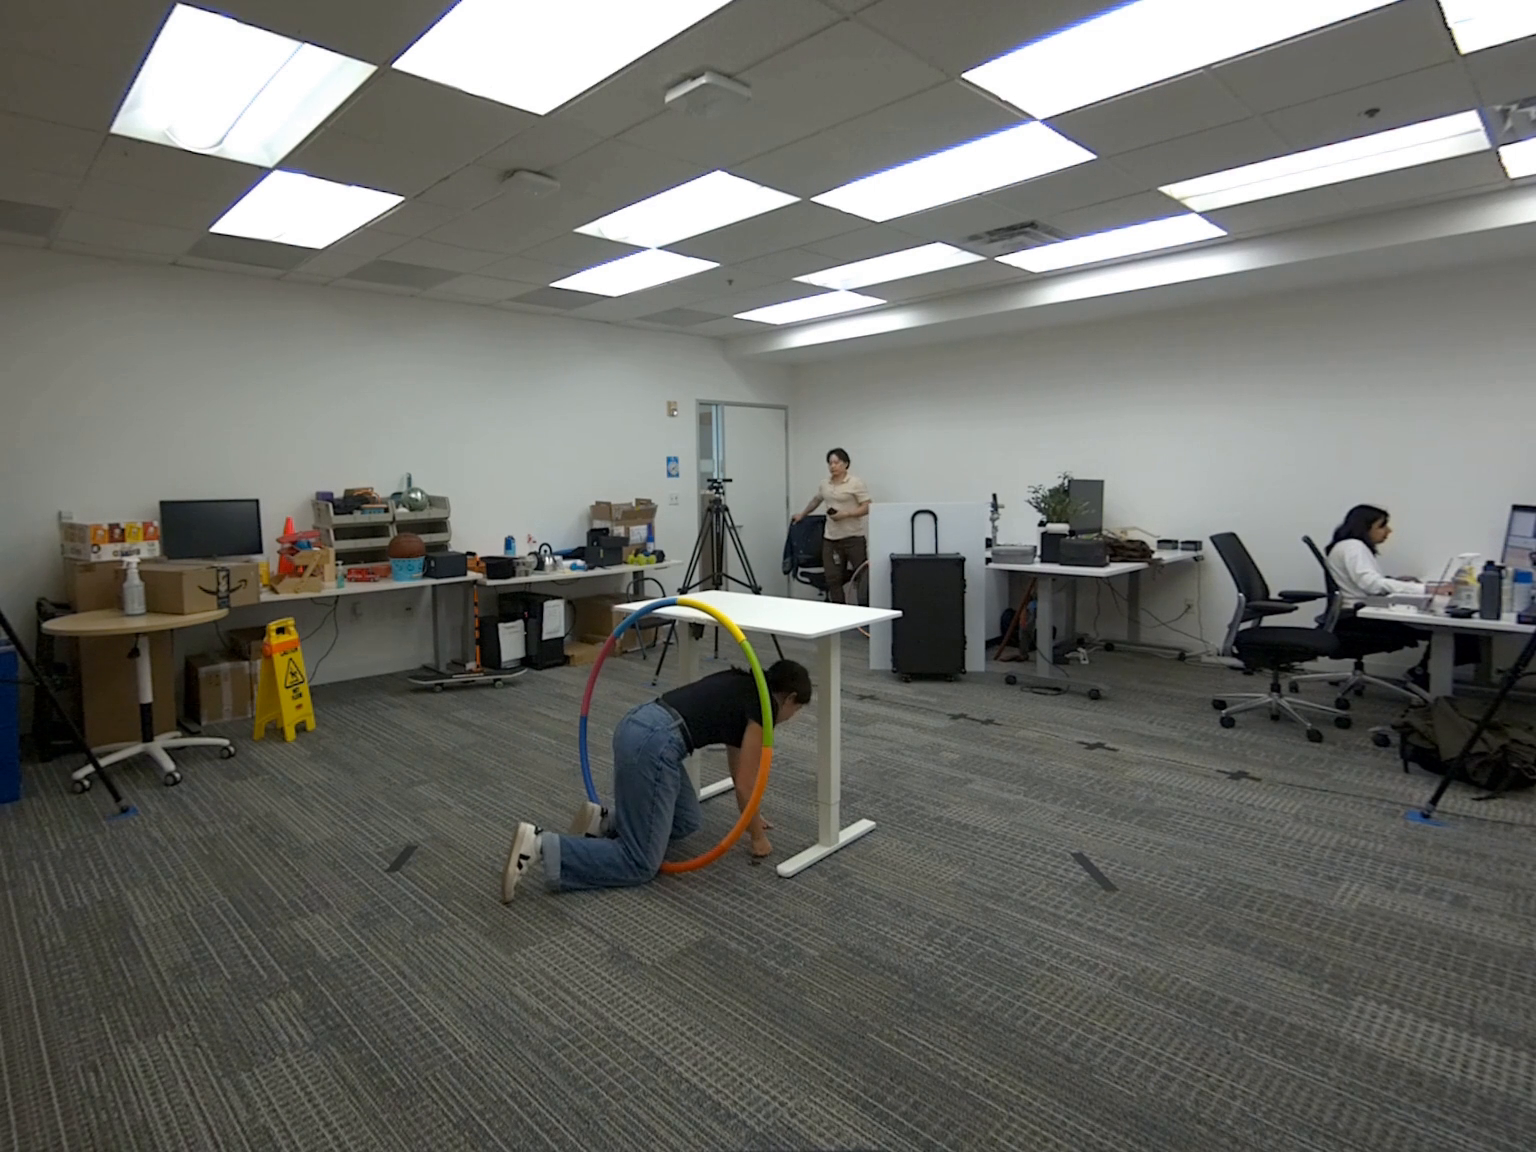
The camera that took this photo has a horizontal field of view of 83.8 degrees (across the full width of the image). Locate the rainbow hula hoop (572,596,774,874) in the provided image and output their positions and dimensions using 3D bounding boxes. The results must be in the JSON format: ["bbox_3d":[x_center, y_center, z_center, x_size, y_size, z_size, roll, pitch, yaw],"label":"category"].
[{"bbox_3d":[-0.372,0.572,3.159,1.008,0.984,0.034,3,-8,40],"label":"rainbow hula hoop"}]
